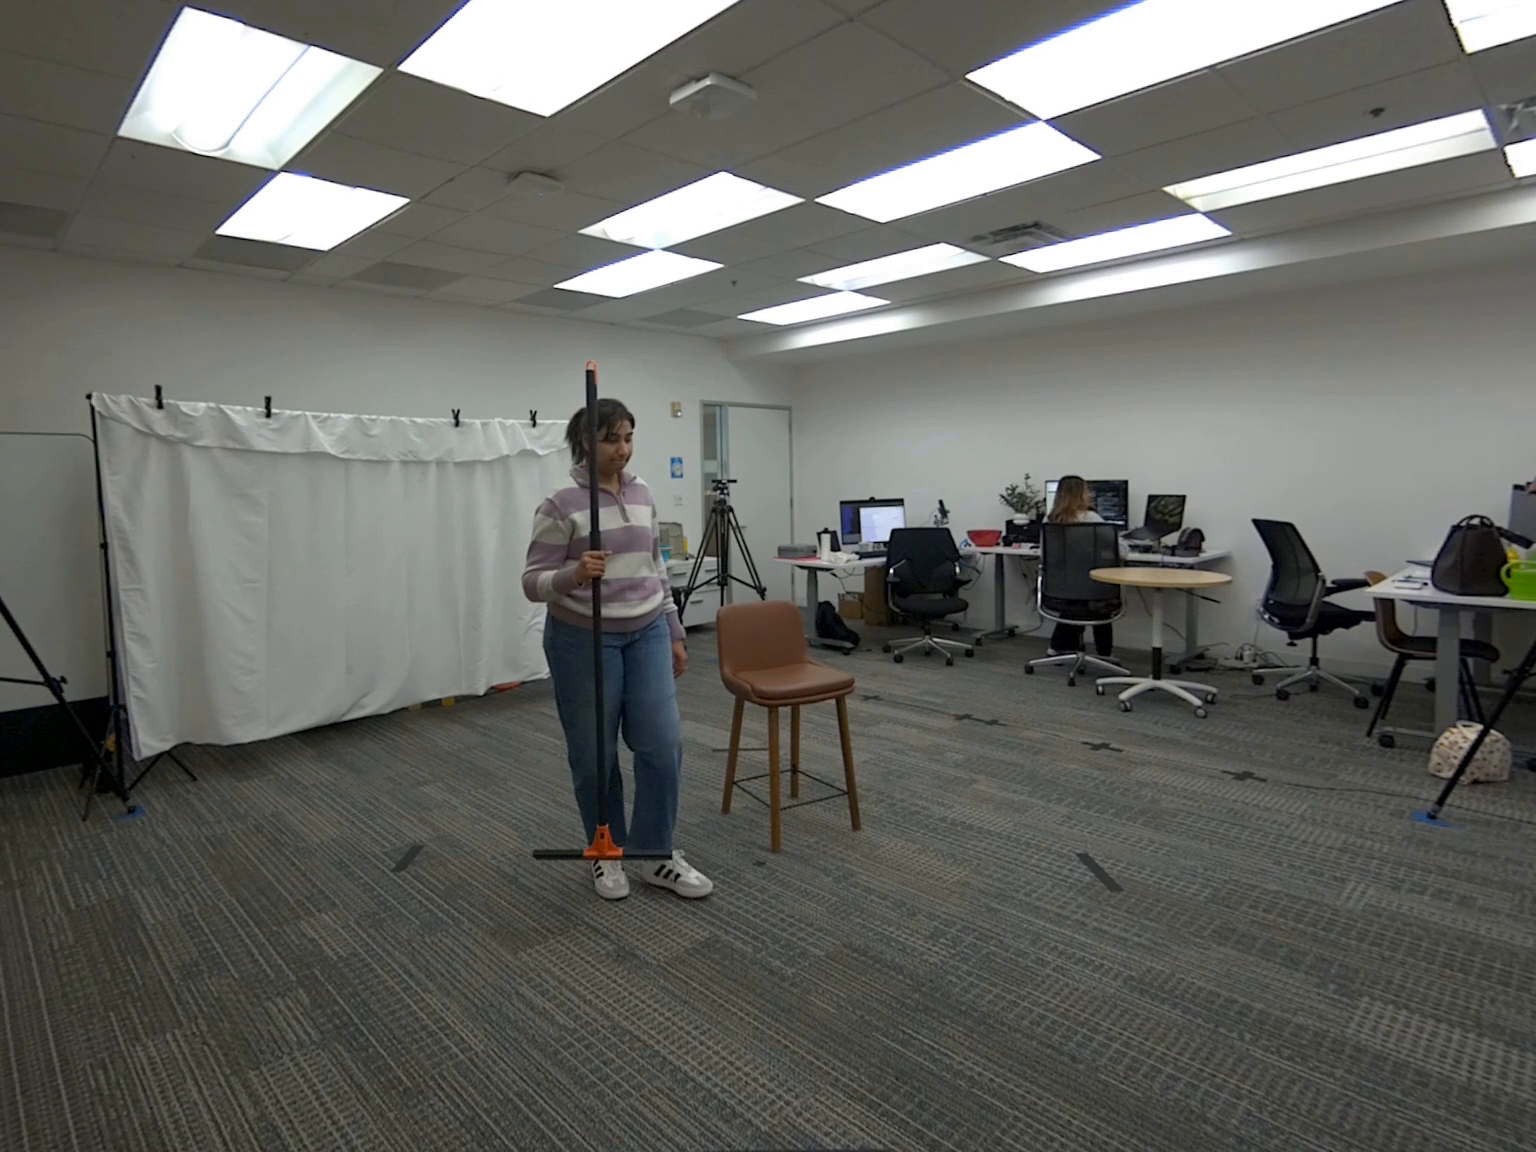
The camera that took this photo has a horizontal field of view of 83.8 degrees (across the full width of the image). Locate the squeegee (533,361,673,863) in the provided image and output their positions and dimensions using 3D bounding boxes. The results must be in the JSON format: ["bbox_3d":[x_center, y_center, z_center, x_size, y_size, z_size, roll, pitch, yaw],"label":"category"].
[{"bbox_3d":[-0.520,0.153,2.600,0.439,1.531,0.053,0,4,4],"label":"squeegee"}]
